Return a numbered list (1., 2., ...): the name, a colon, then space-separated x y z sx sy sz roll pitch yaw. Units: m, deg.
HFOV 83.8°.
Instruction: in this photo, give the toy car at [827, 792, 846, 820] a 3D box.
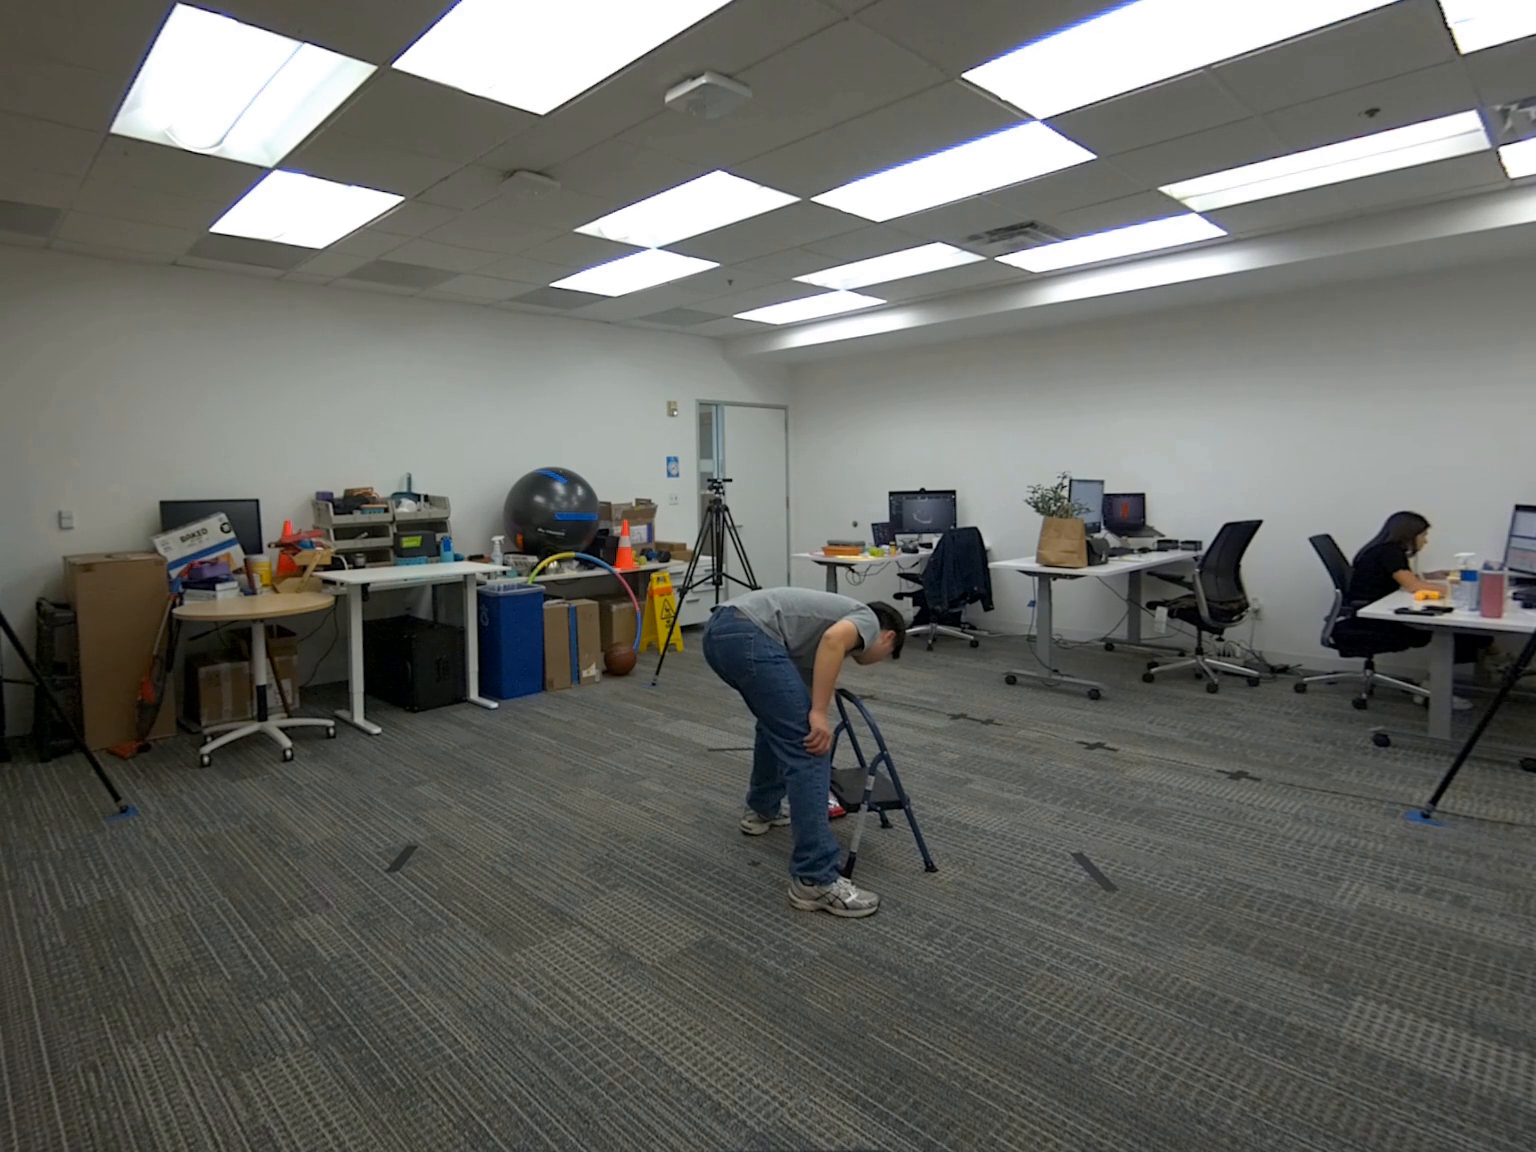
1. toy car: 0.227 0.955 3.595 0.127 0.082 0.263 -3 16 -30
